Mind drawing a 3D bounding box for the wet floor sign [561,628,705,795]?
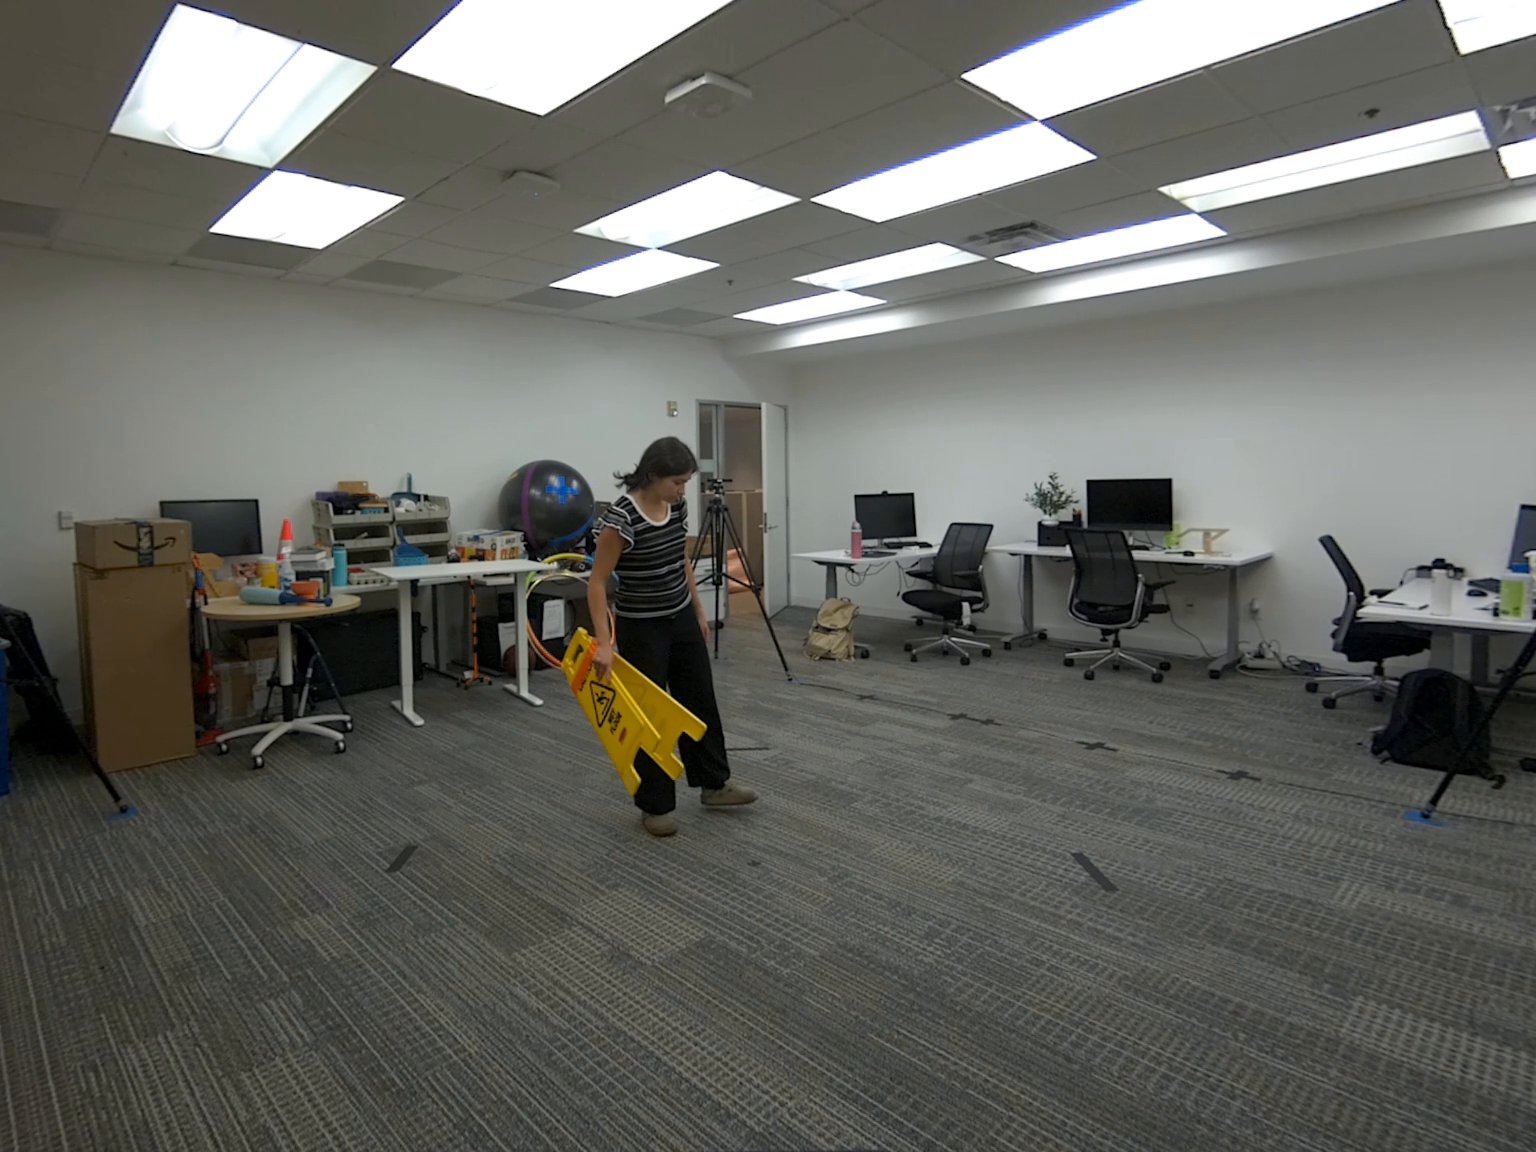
[{"bbox_3d":[-0.567,0.466,3.219,0.669,0.280,0.282,42,26,30],"label":"wet floor sign"}]
